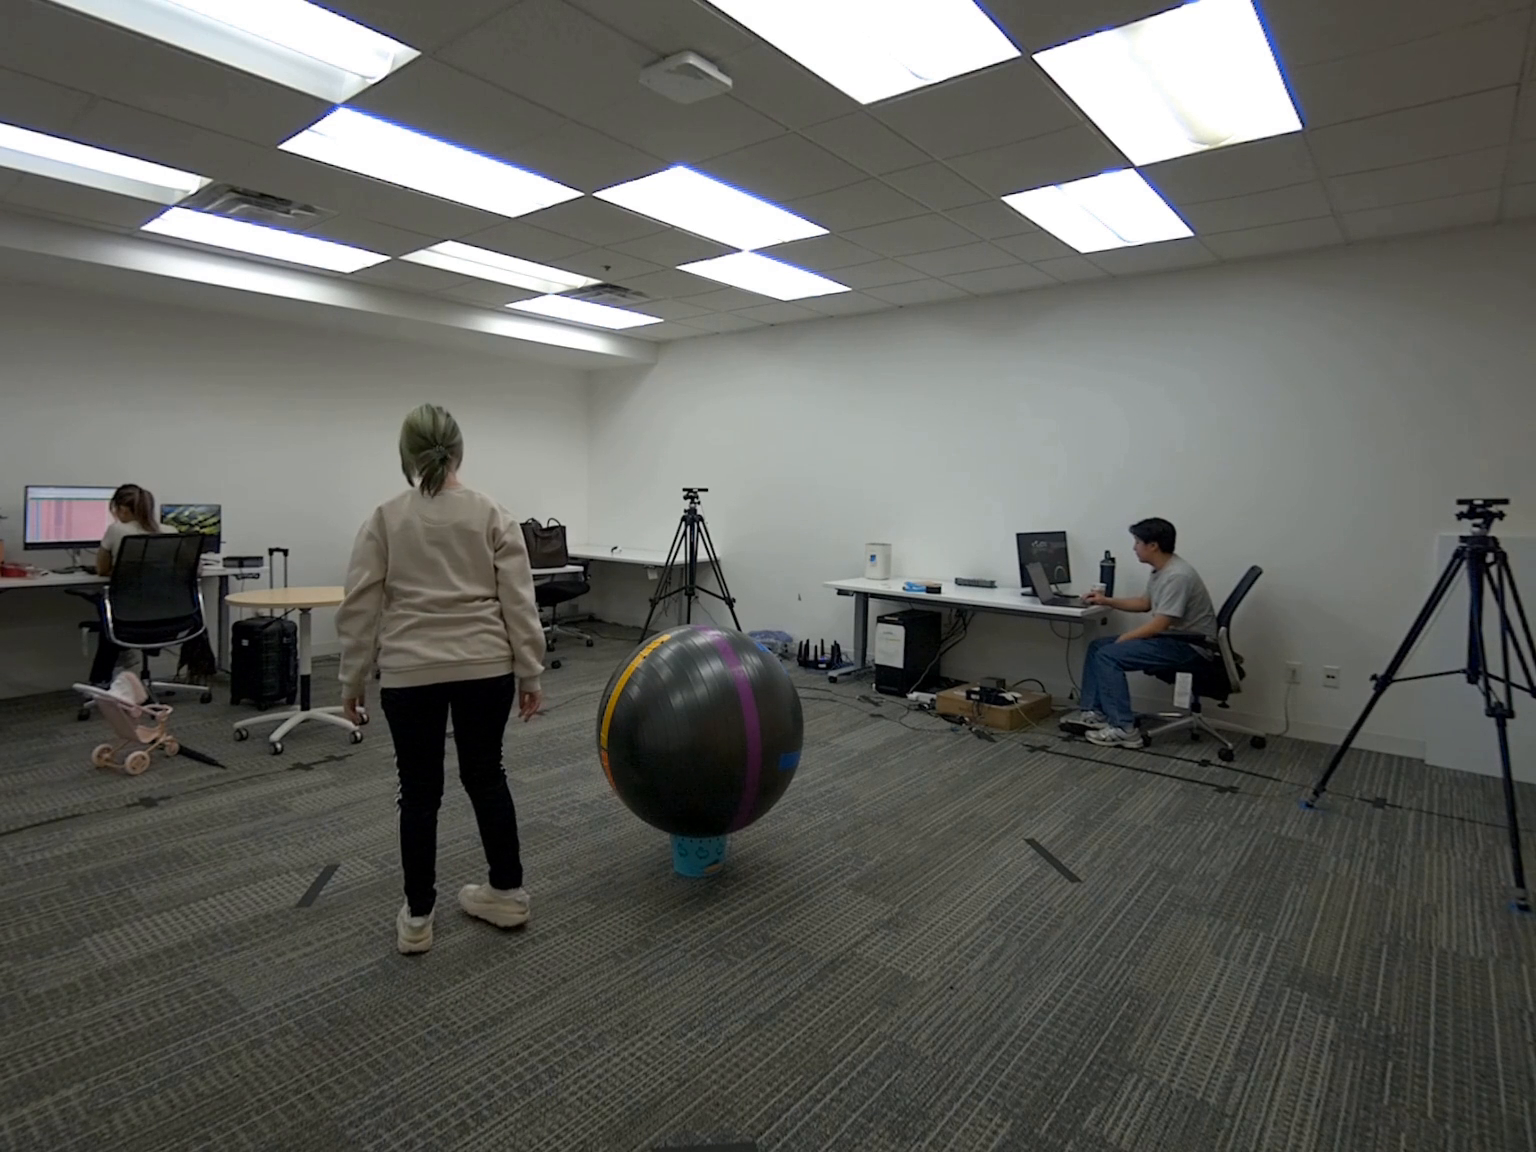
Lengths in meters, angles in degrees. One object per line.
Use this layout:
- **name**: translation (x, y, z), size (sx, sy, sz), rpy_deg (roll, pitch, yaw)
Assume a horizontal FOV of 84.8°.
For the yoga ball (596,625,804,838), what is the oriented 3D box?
- **yoga ball**: translation (-0.257, 0.553, 3.110), size (0.757, 0.755, 0.762), rpy_deg (1, 4, -2)
